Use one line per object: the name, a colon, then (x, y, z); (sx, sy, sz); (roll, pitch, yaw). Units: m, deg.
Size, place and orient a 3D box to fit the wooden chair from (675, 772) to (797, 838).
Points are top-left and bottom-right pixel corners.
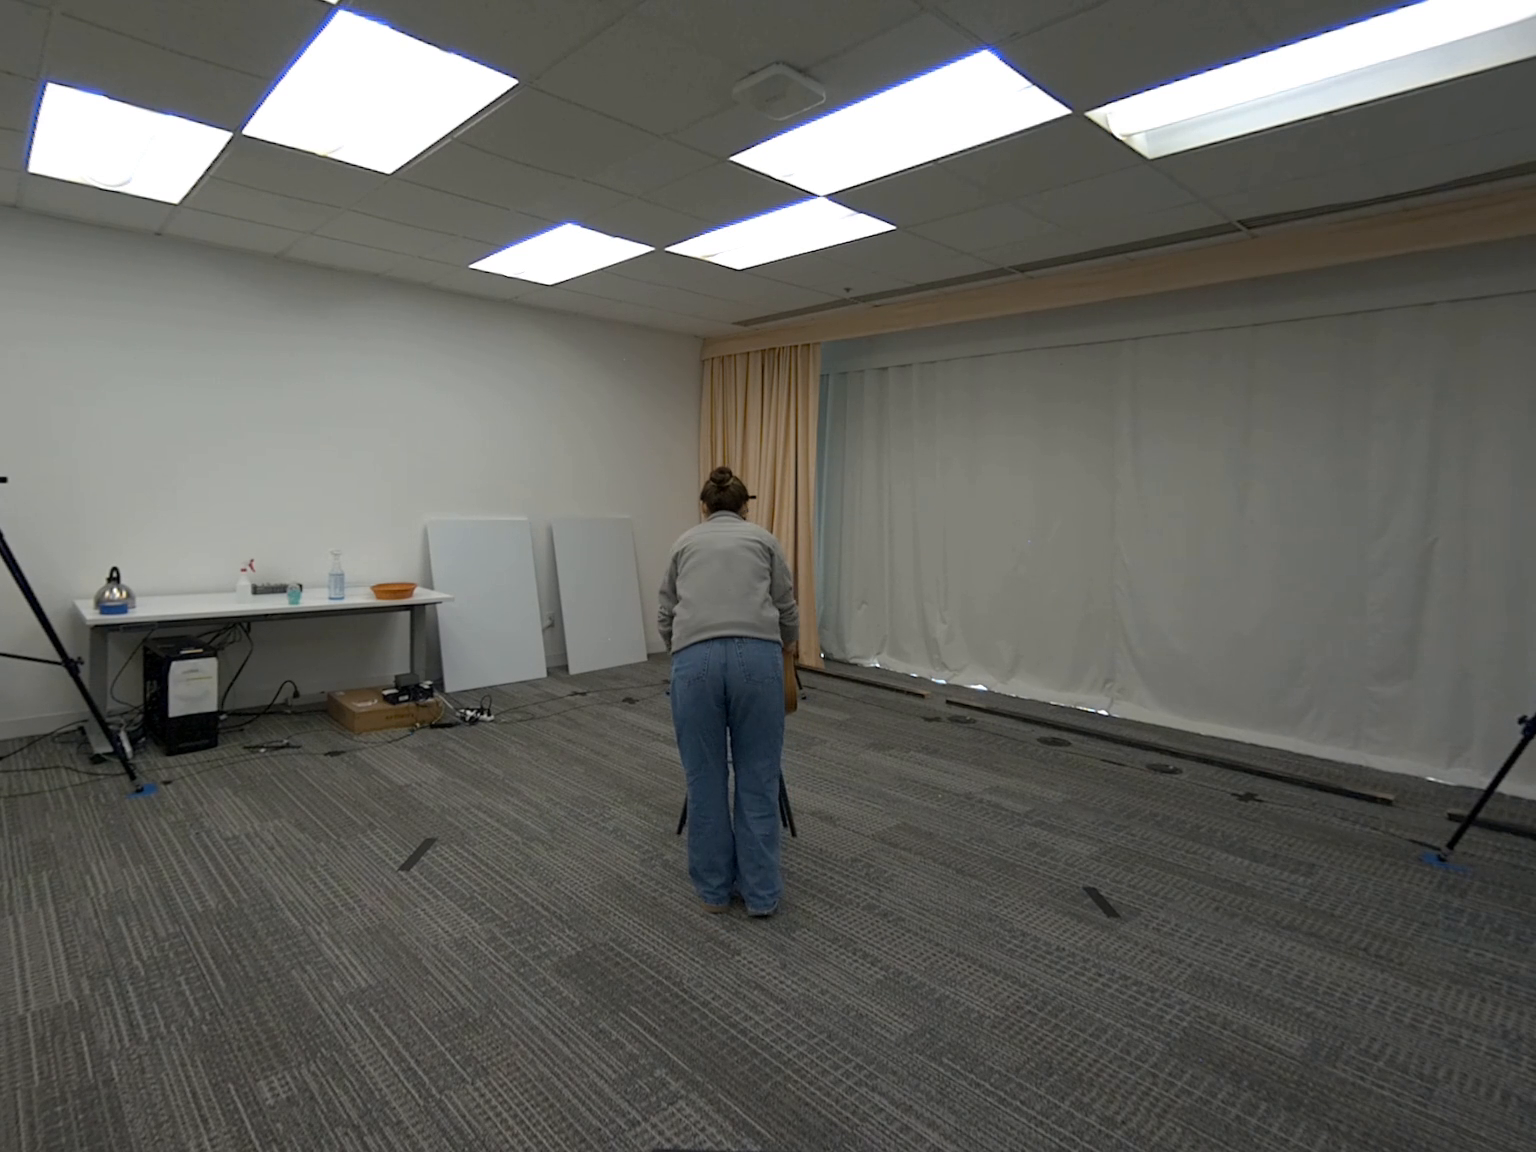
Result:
wooden chair: (-0.130, 0.603, 3.449); (0.478, 0.883, 0.520); (1, -9, -1)
